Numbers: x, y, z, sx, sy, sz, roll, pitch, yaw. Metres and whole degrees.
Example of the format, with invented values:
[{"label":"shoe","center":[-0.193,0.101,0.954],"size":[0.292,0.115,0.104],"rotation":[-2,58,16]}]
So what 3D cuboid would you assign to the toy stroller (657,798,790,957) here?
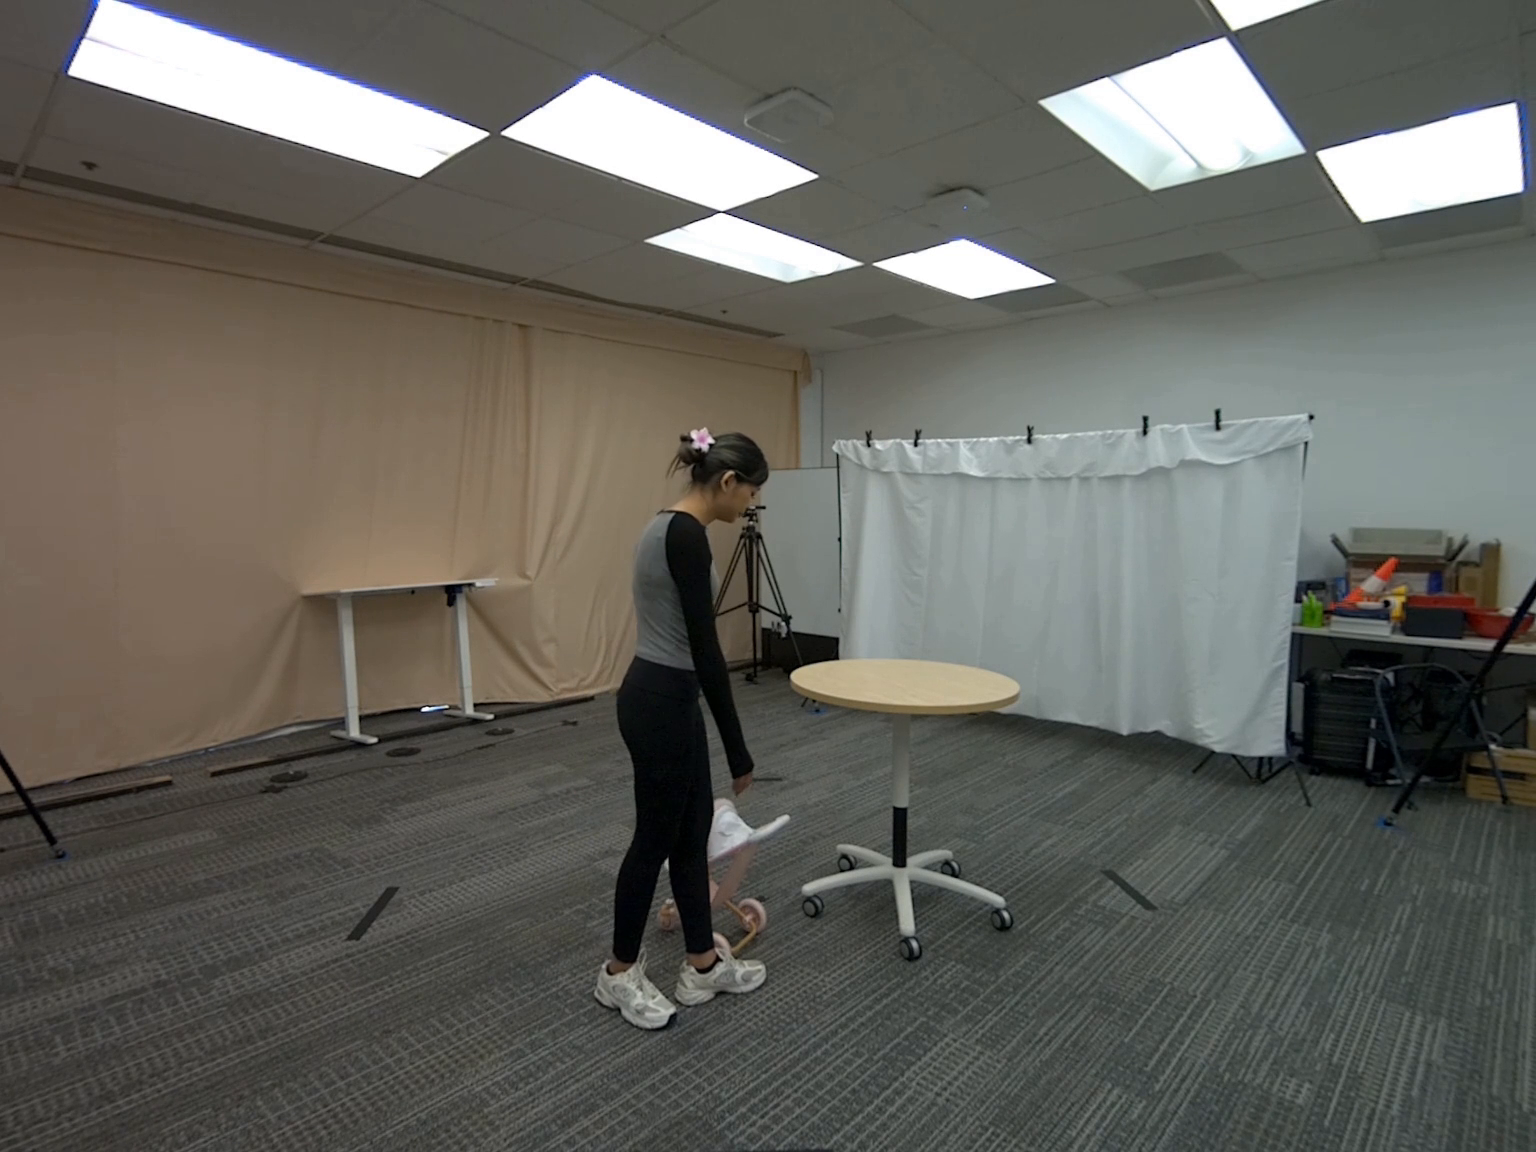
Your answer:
[{"label":"toy stroller","center":[-0.161,0.947,2.669],"size":[0.352,0.533,0.273],"rotation":[19,11,30]}]
